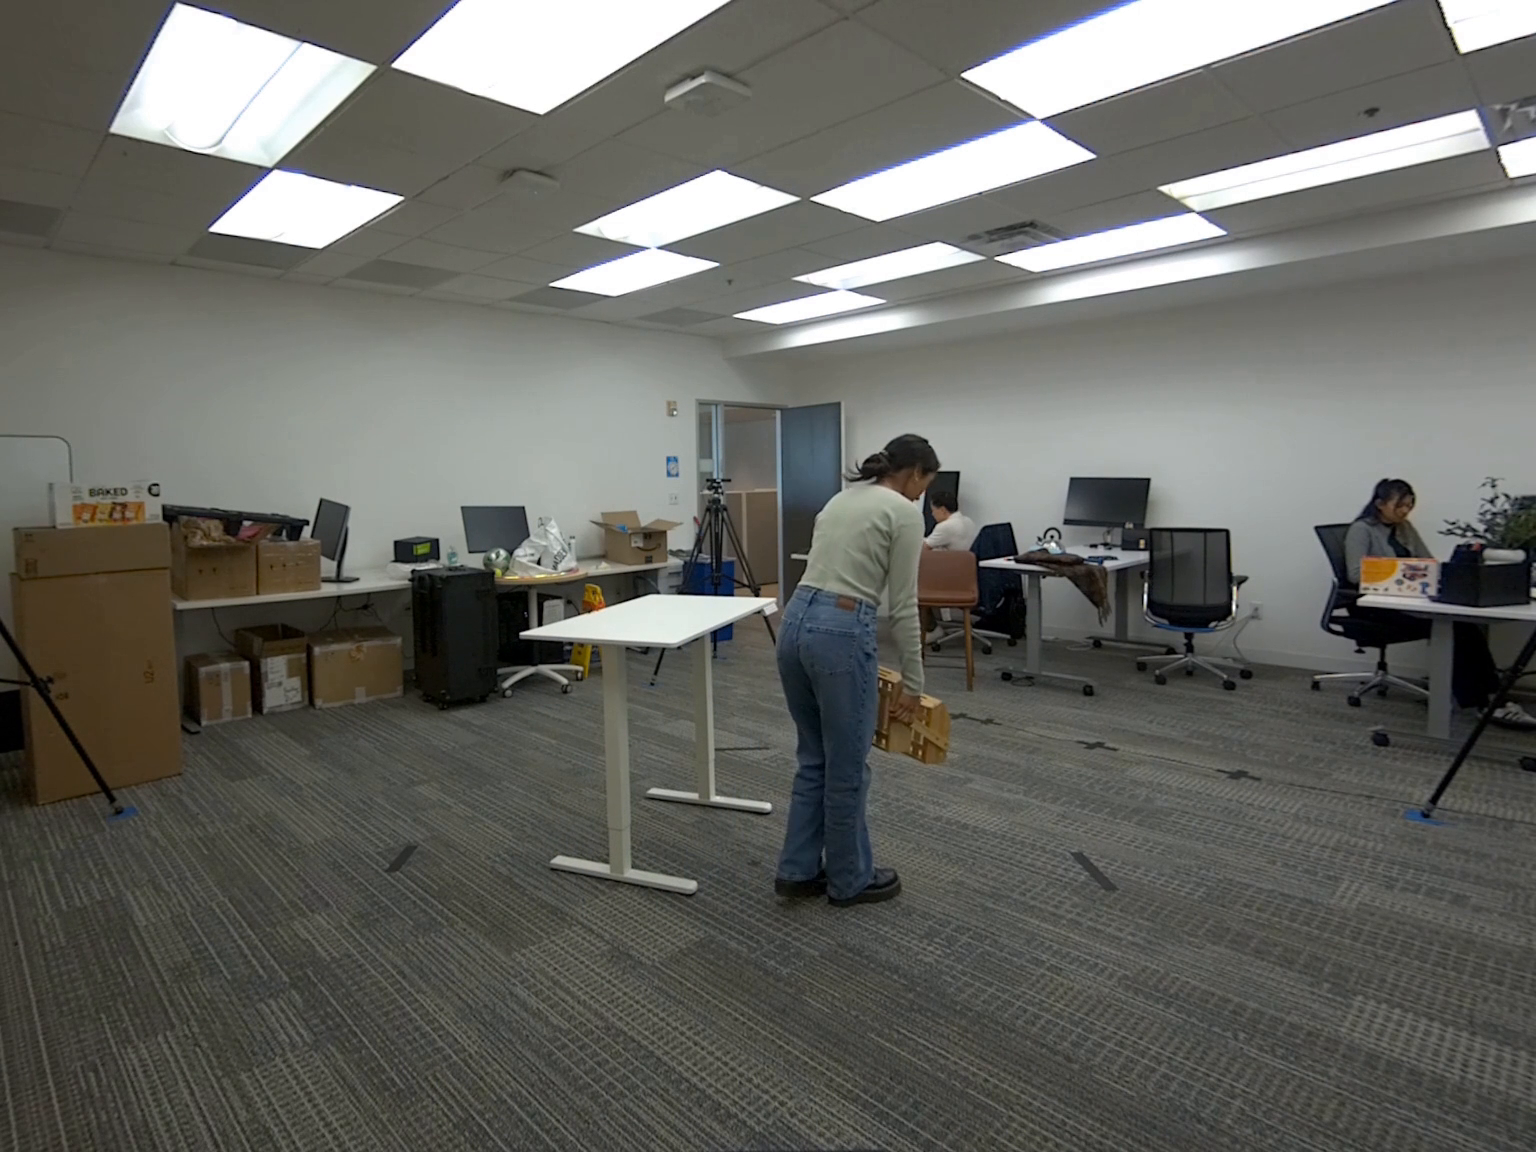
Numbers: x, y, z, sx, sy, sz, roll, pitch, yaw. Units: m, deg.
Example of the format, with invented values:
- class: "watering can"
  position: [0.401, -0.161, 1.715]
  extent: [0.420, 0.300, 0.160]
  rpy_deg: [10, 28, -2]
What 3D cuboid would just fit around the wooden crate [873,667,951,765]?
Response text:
- class: "wooden crate"
  position: [0.429, 0.445, 2.912]
  extent: [0.266, 0.300, 0.335]
  rpy_deg: [1, 8, -33]
